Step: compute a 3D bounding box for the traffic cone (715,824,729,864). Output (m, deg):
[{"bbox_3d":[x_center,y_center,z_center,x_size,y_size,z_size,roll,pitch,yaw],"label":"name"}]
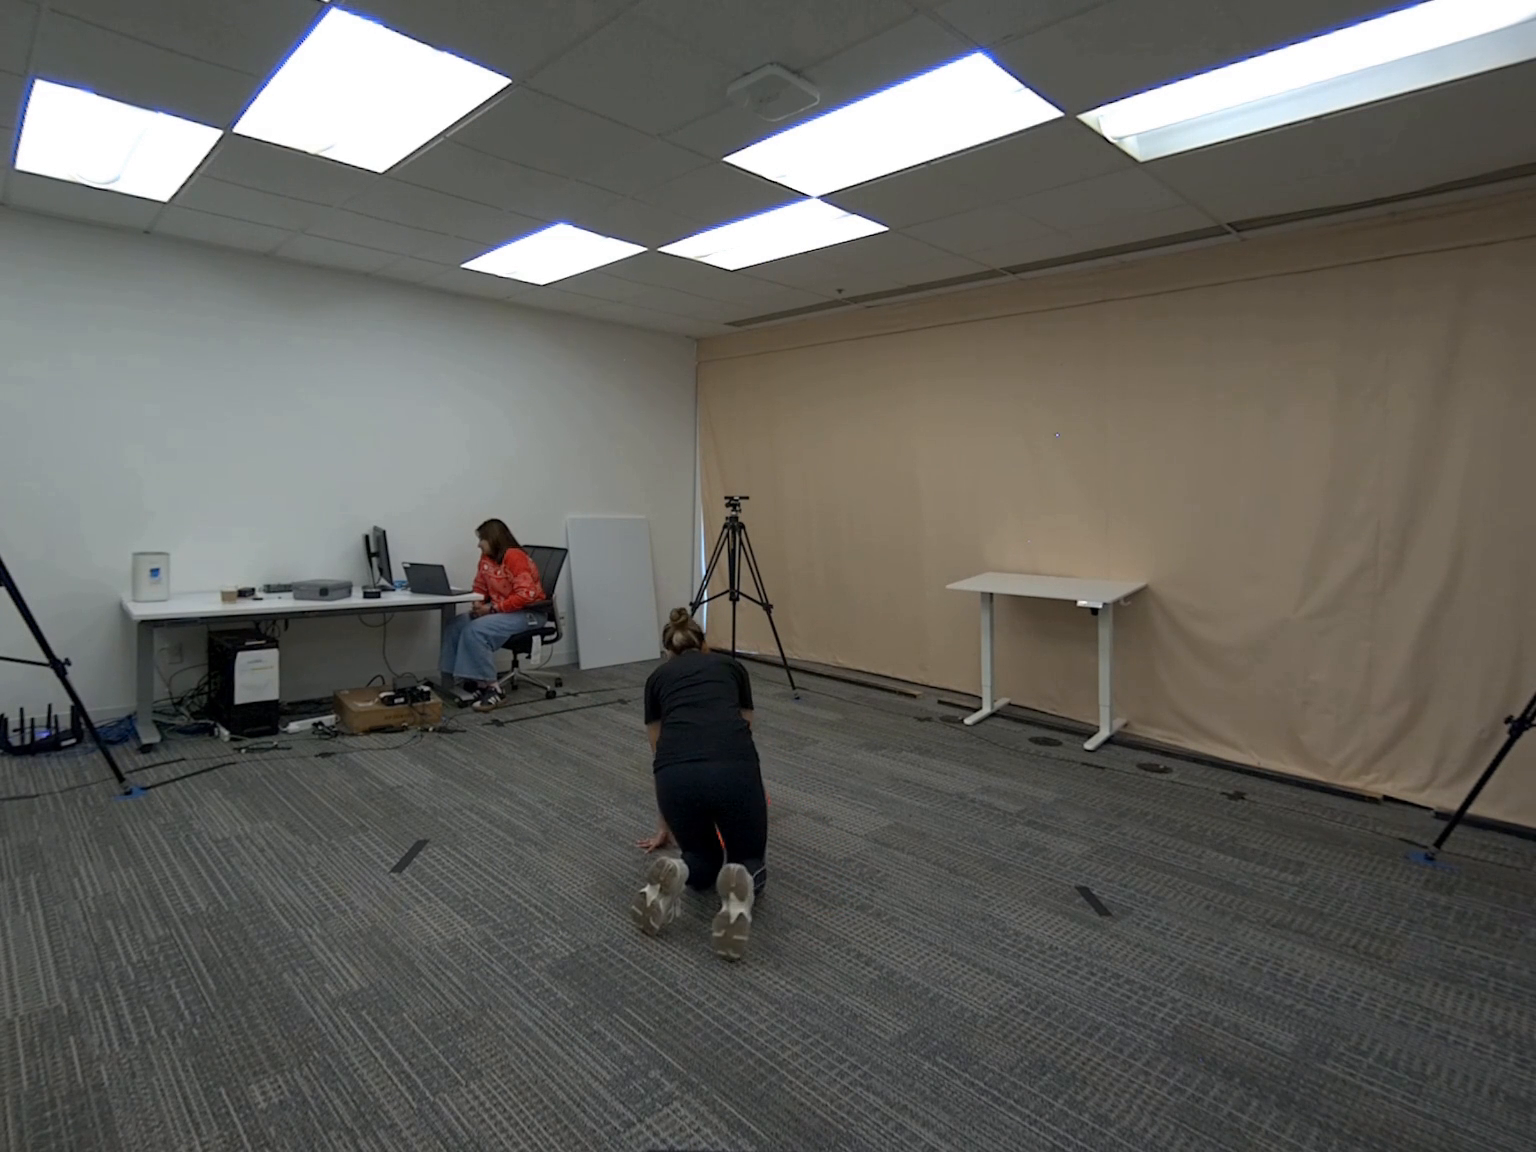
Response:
[{"bbox_3d":[-0.162,1.027,3.499,0.205,0.202,0.386,-26,16,21],"label":"traffic cone"}]
